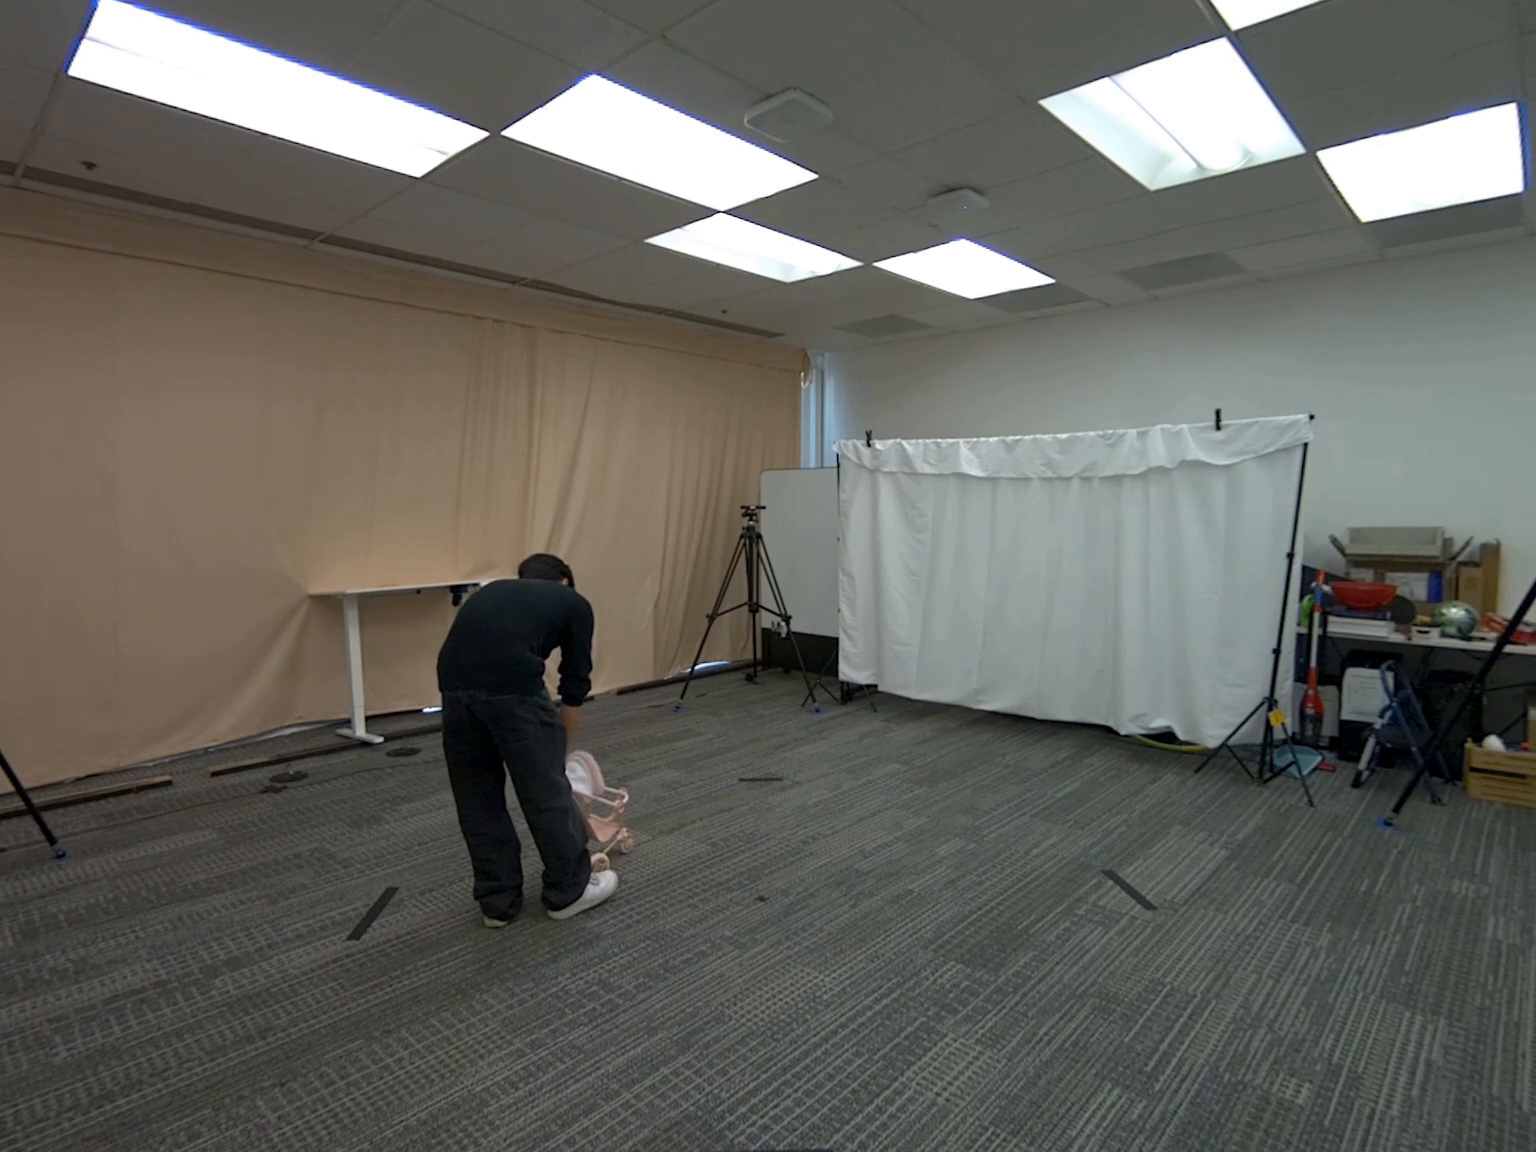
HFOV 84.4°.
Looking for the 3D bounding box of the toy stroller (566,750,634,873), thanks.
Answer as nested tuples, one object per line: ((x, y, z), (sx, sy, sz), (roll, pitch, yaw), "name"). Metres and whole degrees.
((-0.696, 0.908, 3.240), (0.291, 0.528, 0.334), (3, 21, 44), "toy stroller")
